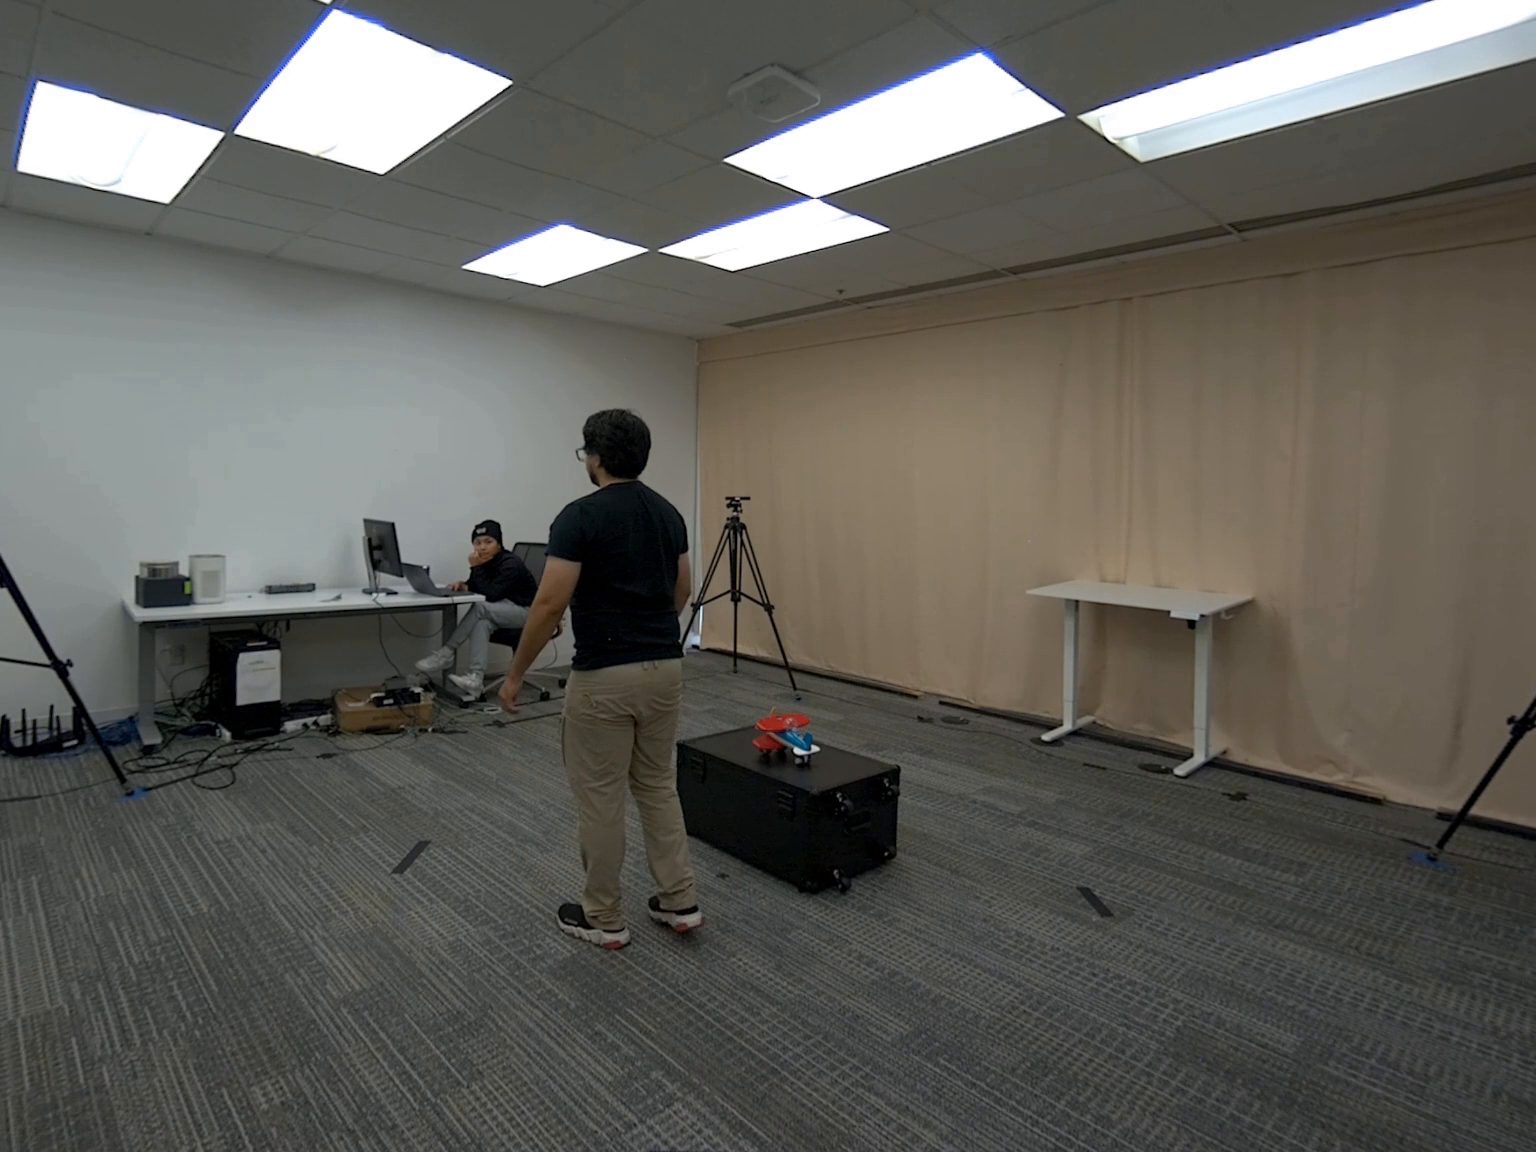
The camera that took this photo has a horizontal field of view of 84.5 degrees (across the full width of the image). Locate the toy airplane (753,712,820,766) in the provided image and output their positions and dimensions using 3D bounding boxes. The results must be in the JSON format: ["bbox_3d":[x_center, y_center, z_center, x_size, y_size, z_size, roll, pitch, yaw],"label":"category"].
[{"bbox_3d":[0.079,0.641,3.325,0.264,0.156,0.247,2,4,22],"label":"toy airplane"}]
